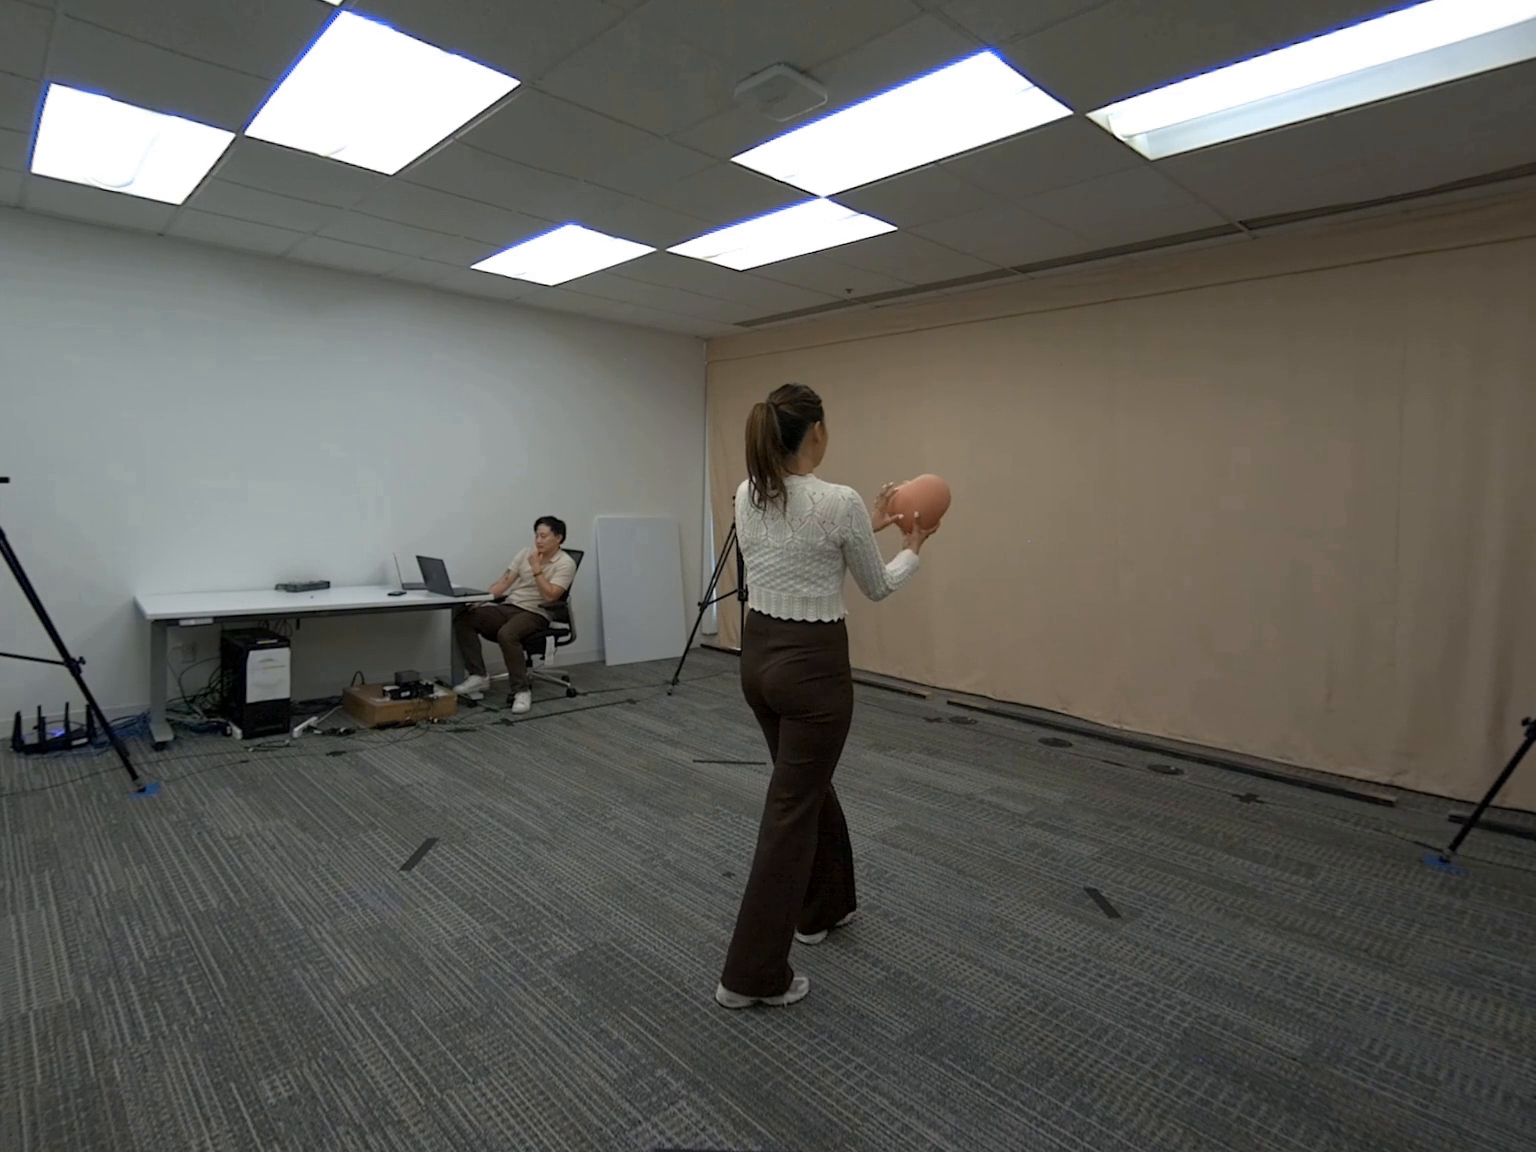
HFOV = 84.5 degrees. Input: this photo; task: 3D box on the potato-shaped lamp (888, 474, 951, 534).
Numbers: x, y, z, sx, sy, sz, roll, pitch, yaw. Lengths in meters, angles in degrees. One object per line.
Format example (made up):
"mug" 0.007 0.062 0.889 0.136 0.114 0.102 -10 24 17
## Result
"potato-shaped lamp" 0.477 -0.238 2.659 0.160 0.198 0.176 29 25 -33
